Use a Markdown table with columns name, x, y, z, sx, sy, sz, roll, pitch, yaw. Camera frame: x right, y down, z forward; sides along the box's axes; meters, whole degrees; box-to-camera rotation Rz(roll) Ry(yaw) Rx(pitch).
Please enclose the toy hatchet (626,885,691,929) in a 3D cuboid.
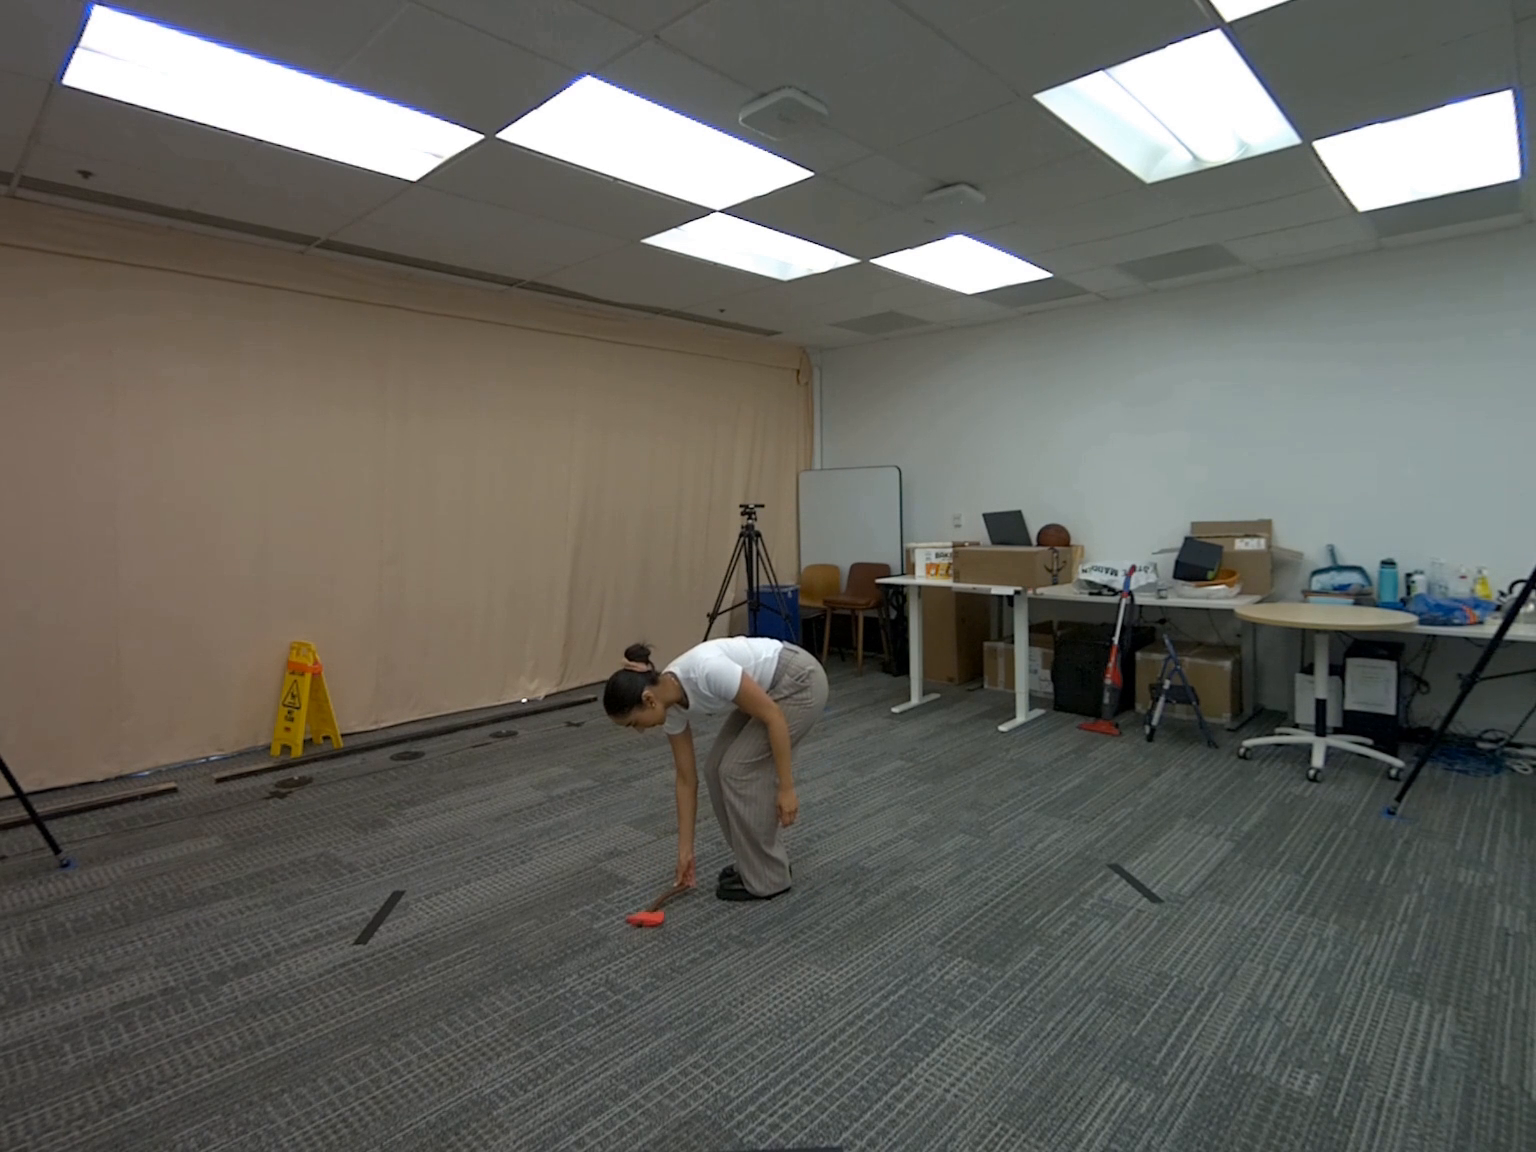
| name | x | y | z | sx | sy | sz | roll | pitch | yaw |
| --- | --- | --- | --- | --- | --- | --- | --- | --- | --- |
| toy hatchet | -0.346 | 1.137 | 2.880 | 0.262 | 0.029 | 0.135 | -12 | 5 | -43 |
